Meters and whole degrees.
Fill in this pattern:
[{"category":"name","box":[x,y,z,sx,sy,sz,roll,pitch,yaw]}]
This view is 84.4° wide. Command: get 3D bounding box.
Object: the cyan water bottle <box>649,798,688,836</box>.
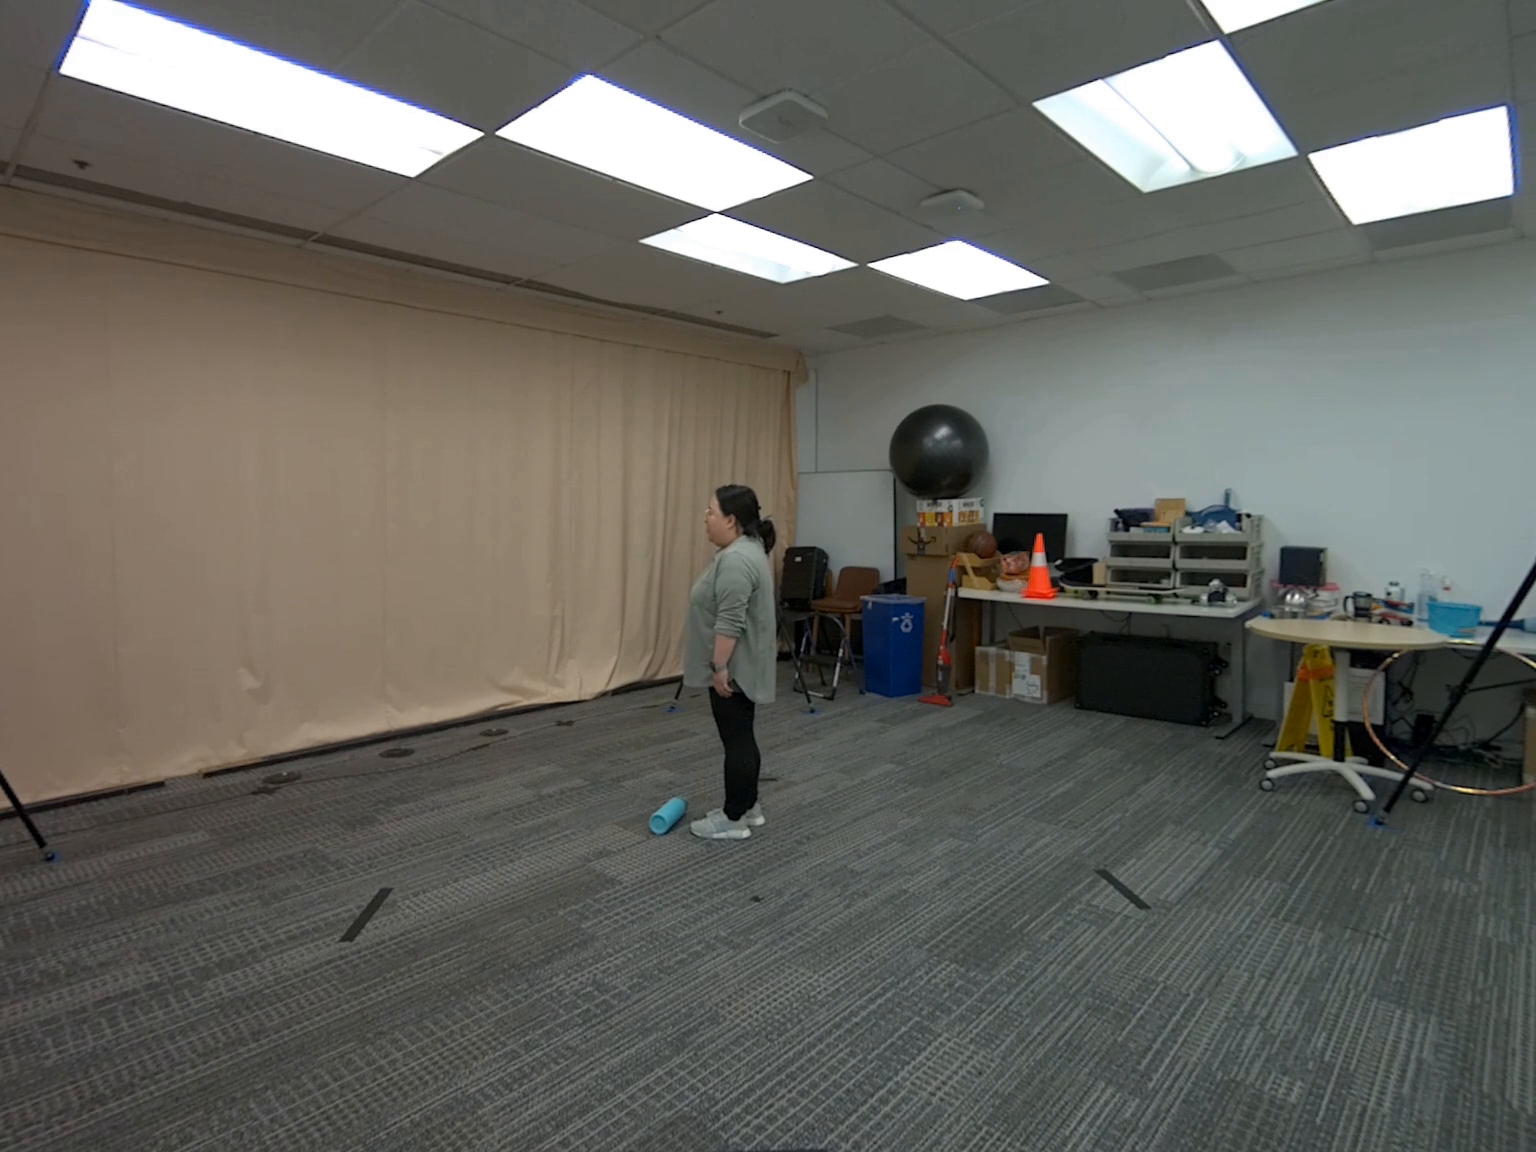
[{"category":"cyan water bottle","box":[-0.429,1.044,3.712,0.094,0.092,0.279,1,5,15]}]
